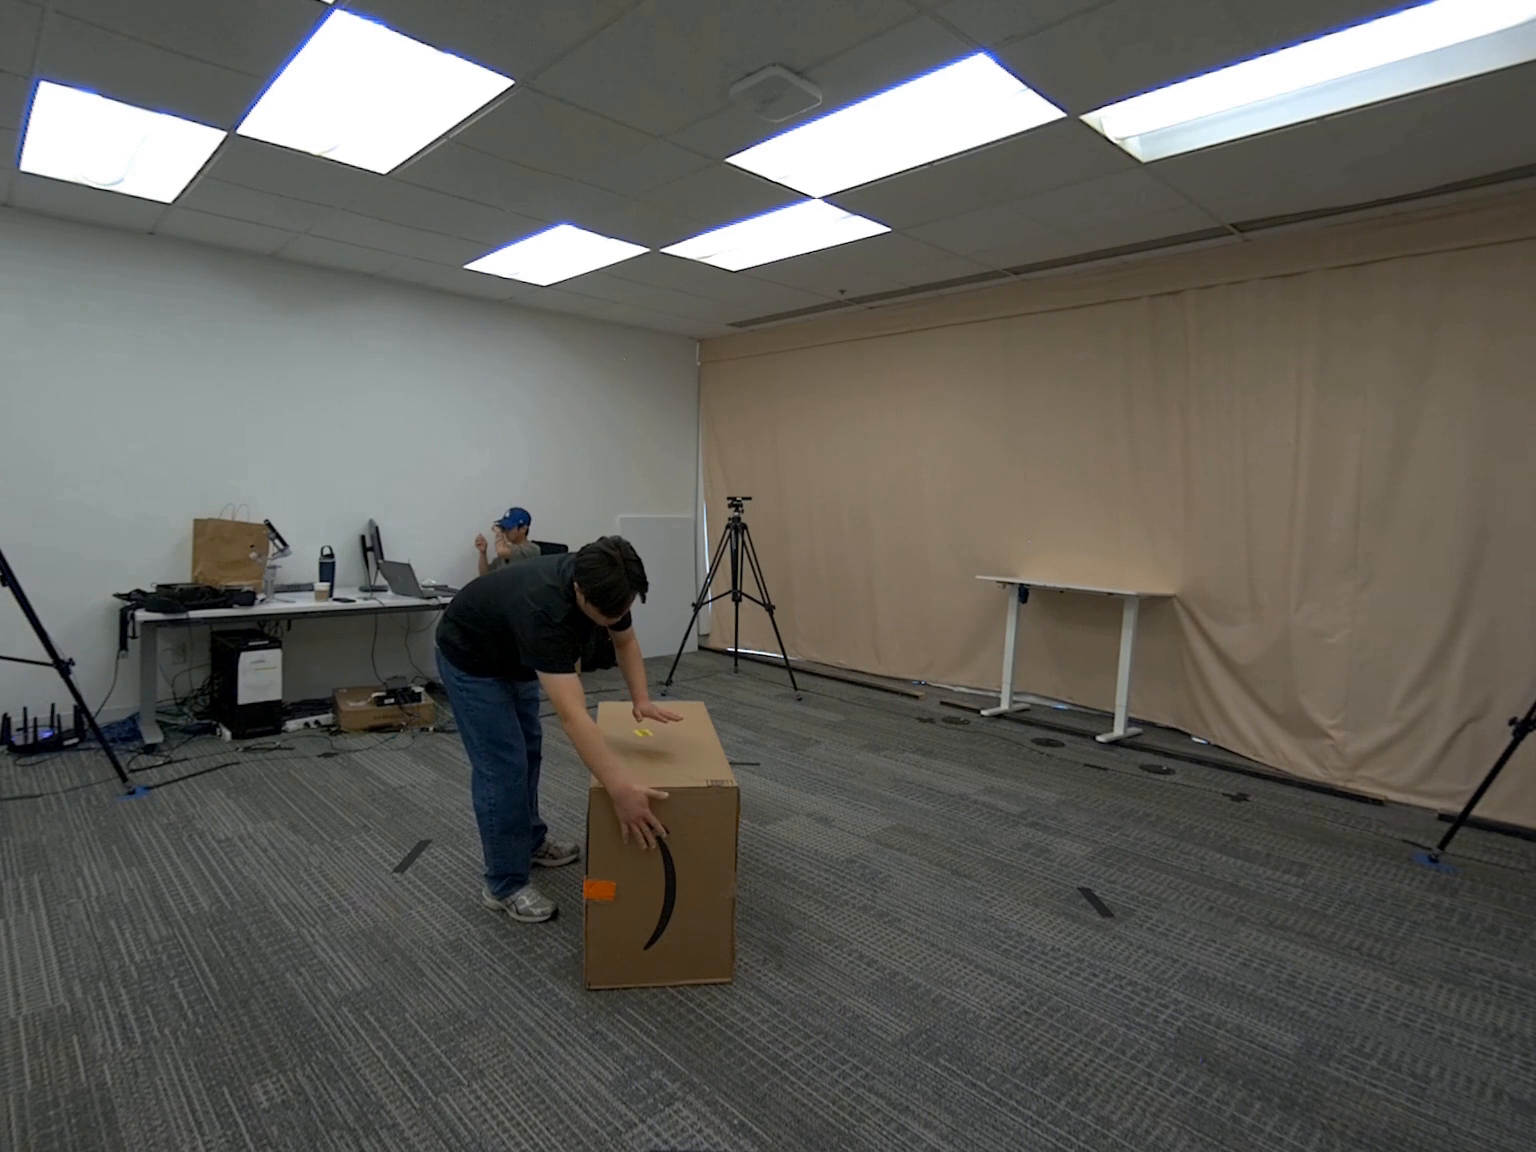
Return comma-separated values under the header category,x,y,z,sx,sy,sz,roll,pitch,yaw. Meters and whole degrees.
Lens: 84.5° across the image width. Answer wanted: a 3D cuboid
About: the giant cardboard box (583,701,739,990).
category,x,y,z,sx,sy,sz,roll,pitch,yaw
giant cardboard box,-0.391,0.835,2.880,0.443,0.582,1.037,0,4,-10
